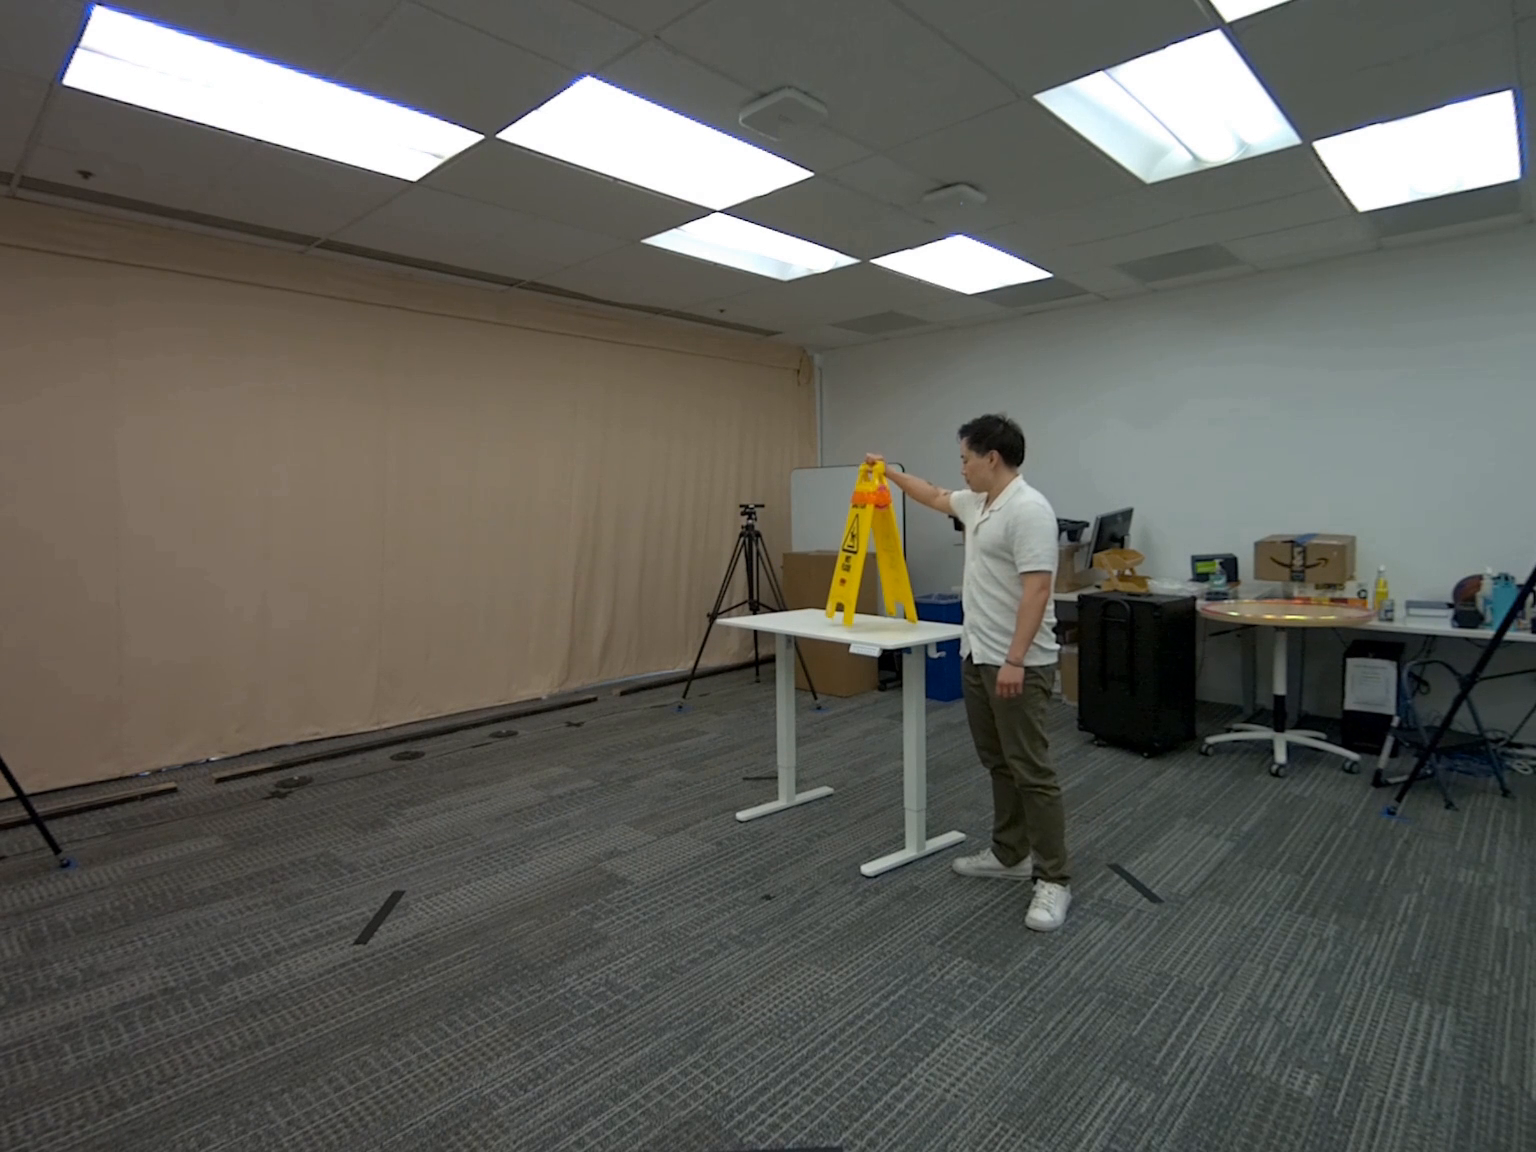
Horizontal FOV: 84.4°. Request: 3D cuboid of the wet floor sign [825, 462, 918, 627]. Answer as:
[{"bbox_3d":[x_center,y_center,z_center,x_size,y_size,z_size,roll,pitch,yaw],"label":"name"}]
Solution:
[{"bbox_3d":[0.423,-0.139,3.419,0.286,0.644,0.287,-2,4,-14],"label":"wet floor sign"}]
